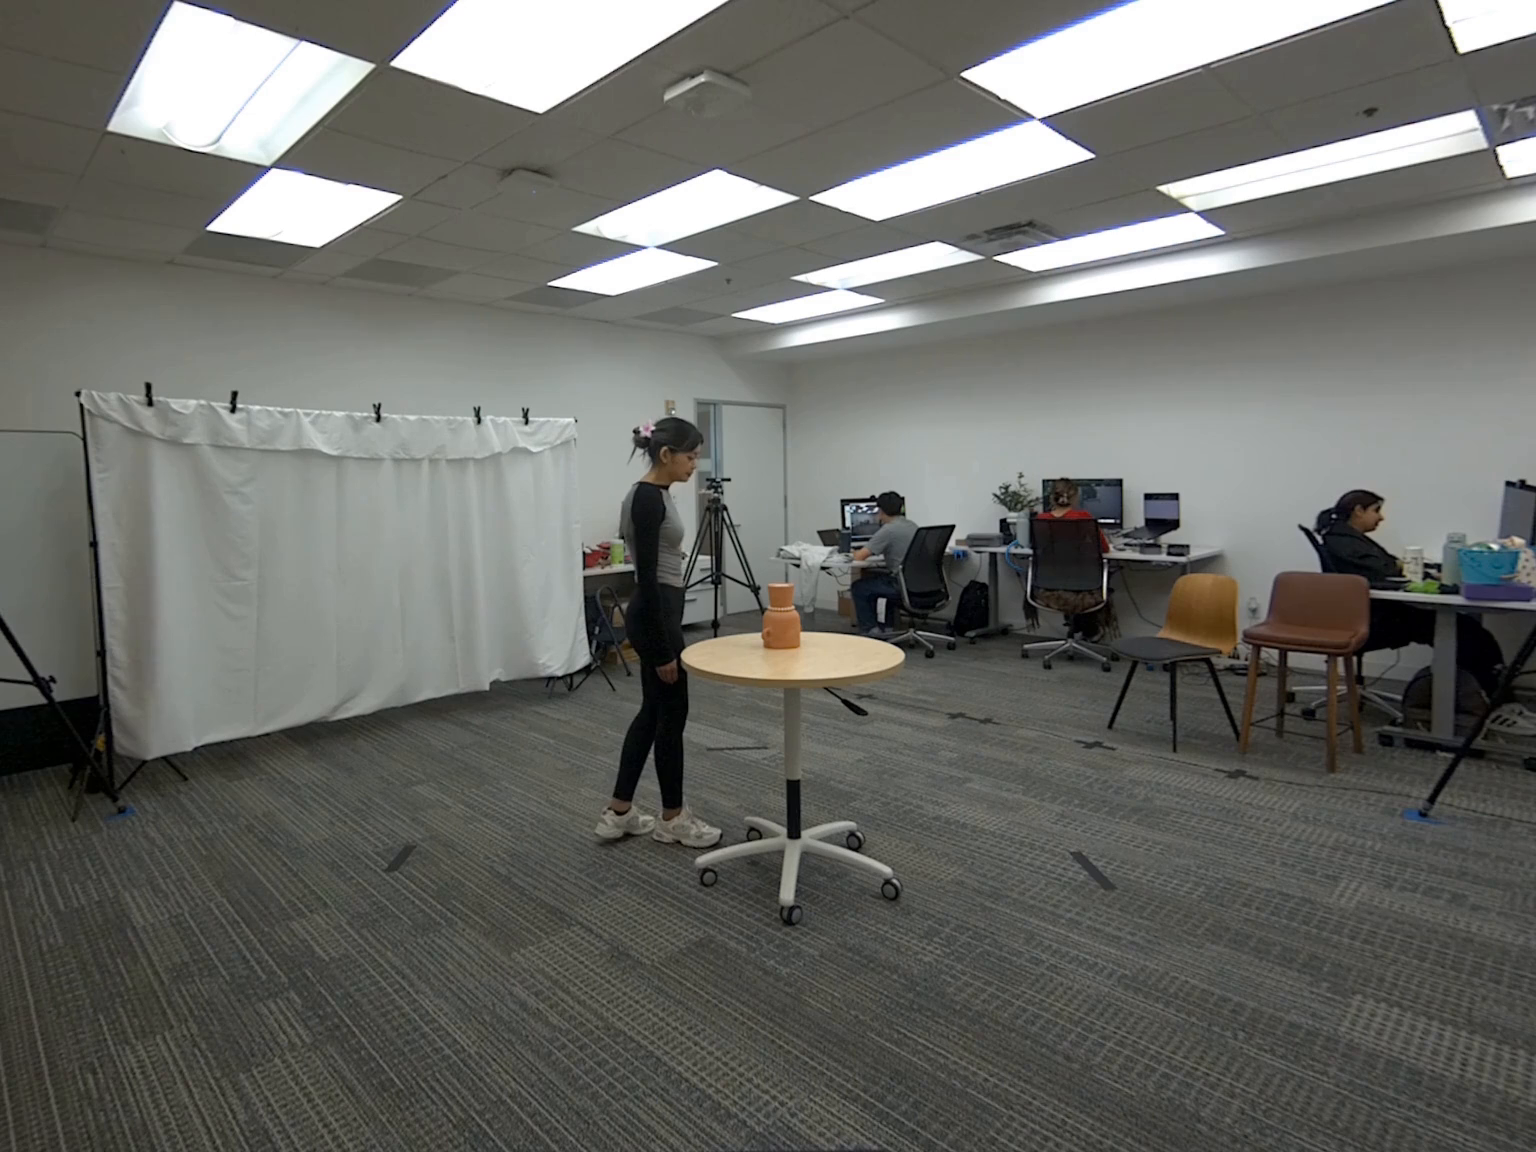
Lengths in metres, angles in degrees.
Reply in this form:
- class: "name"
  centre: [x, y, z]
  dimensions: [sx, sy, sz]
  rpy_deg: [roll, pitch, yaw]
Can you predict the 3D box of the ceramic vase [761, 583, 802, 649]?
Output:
- class: "ceramic vase"
  centre: [0.043, 0.139, 3.065]
  dimensions: [0.135, 0.219, 0.159]
  rpy_deg: [-1, 5, 5]
